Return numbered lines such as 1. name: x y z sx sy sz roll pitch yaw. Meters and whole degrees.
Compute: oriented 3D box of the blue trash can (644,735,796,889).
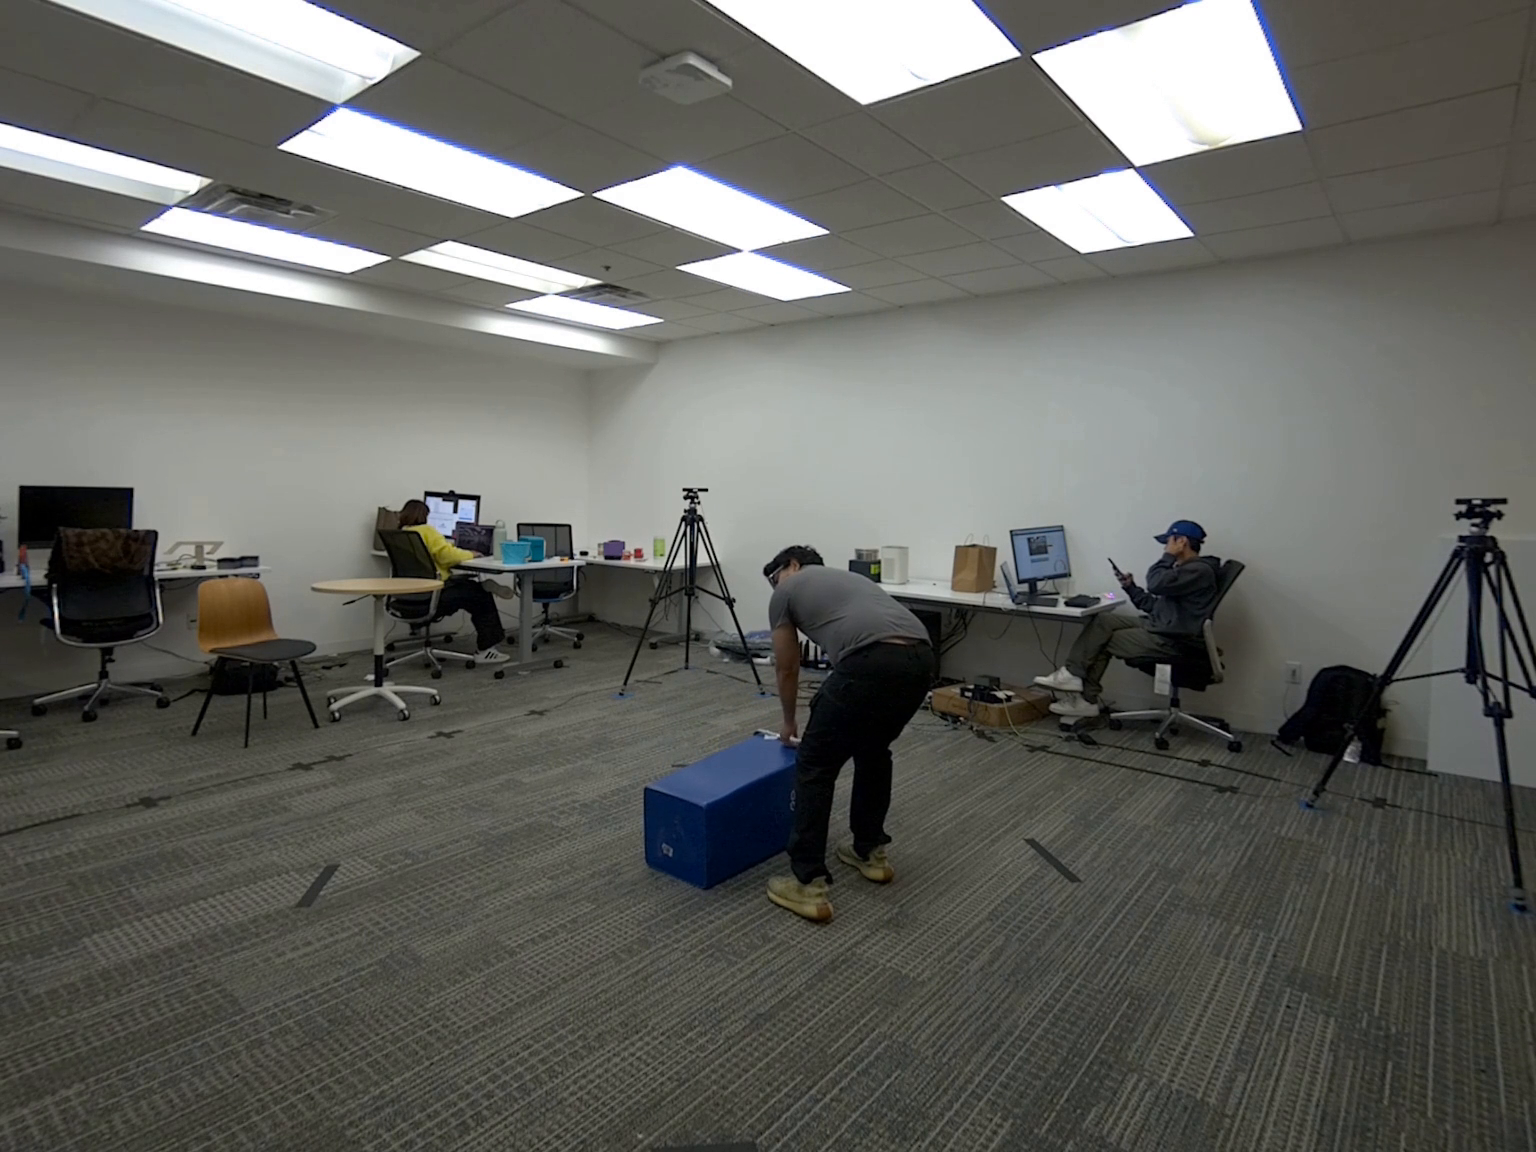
1. blue trash can: -0.142 0.885 3.297 0.387 0.376 0.694 6 9 39
